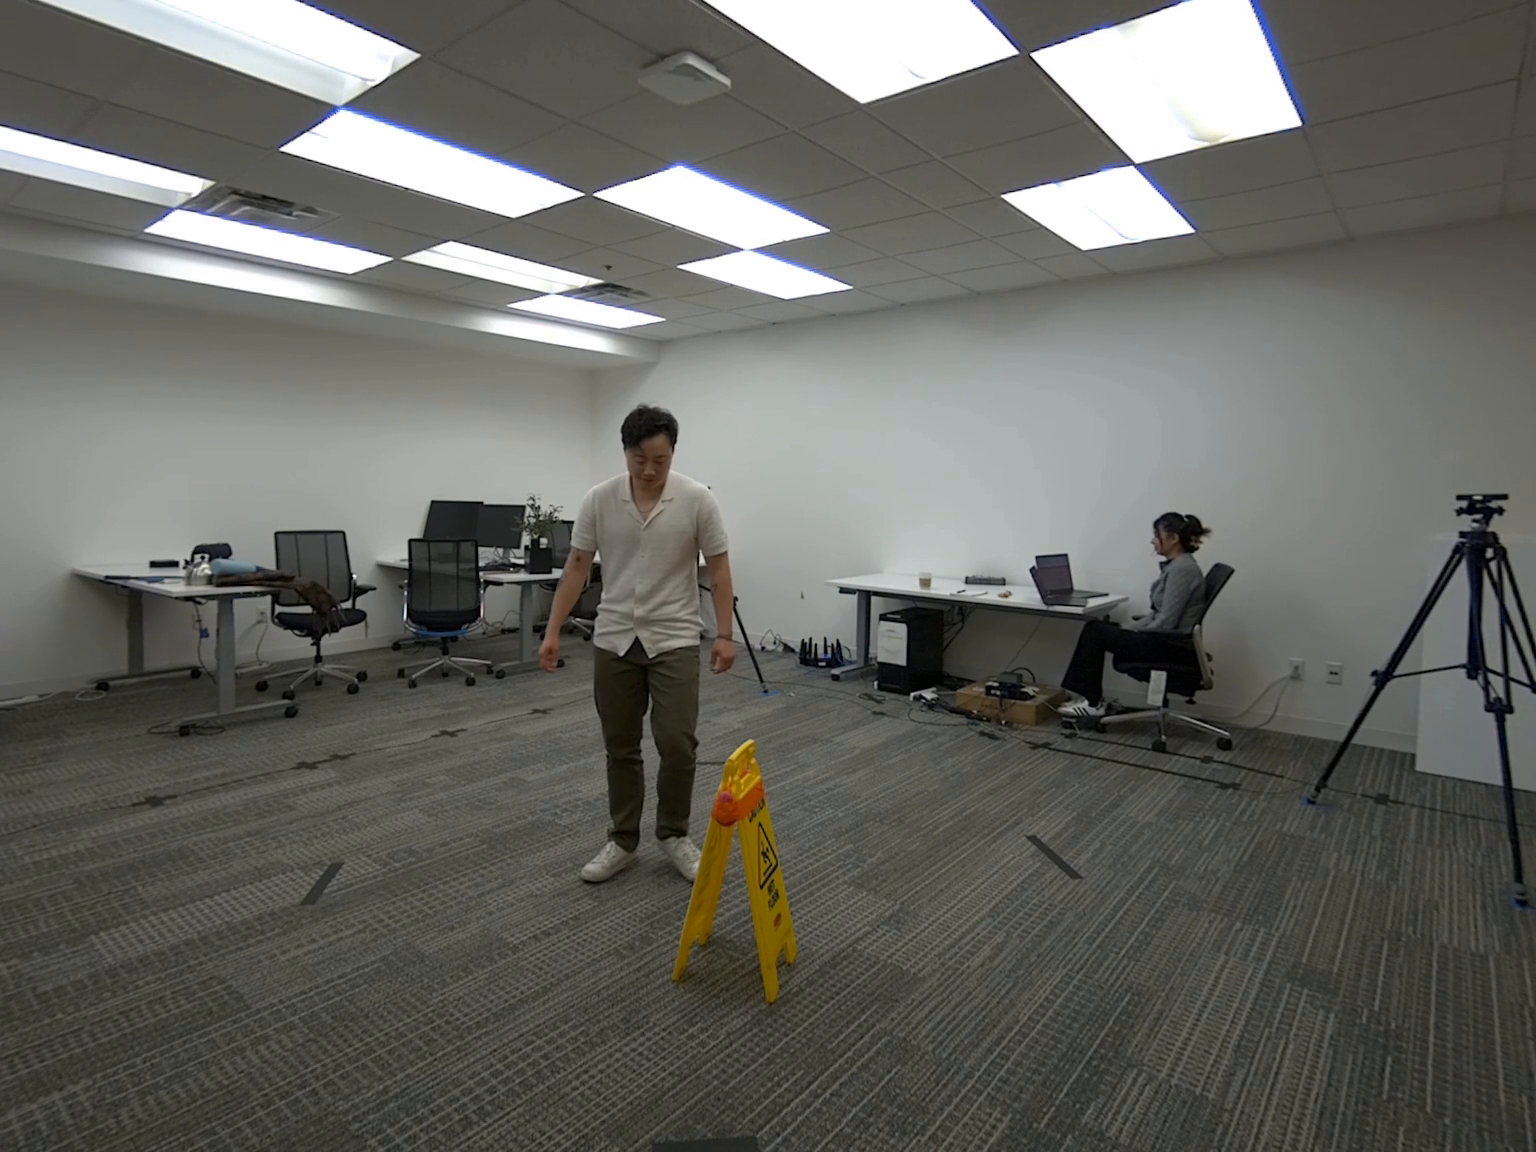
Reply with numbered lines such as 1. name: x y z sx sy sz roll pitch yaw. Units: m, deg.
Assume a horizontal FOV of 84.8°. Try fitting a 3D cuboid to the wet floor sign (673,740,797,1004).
1. wet floor sign: -0.089 0.810 2.449 0.296 0.643 0.278 3 5 18
